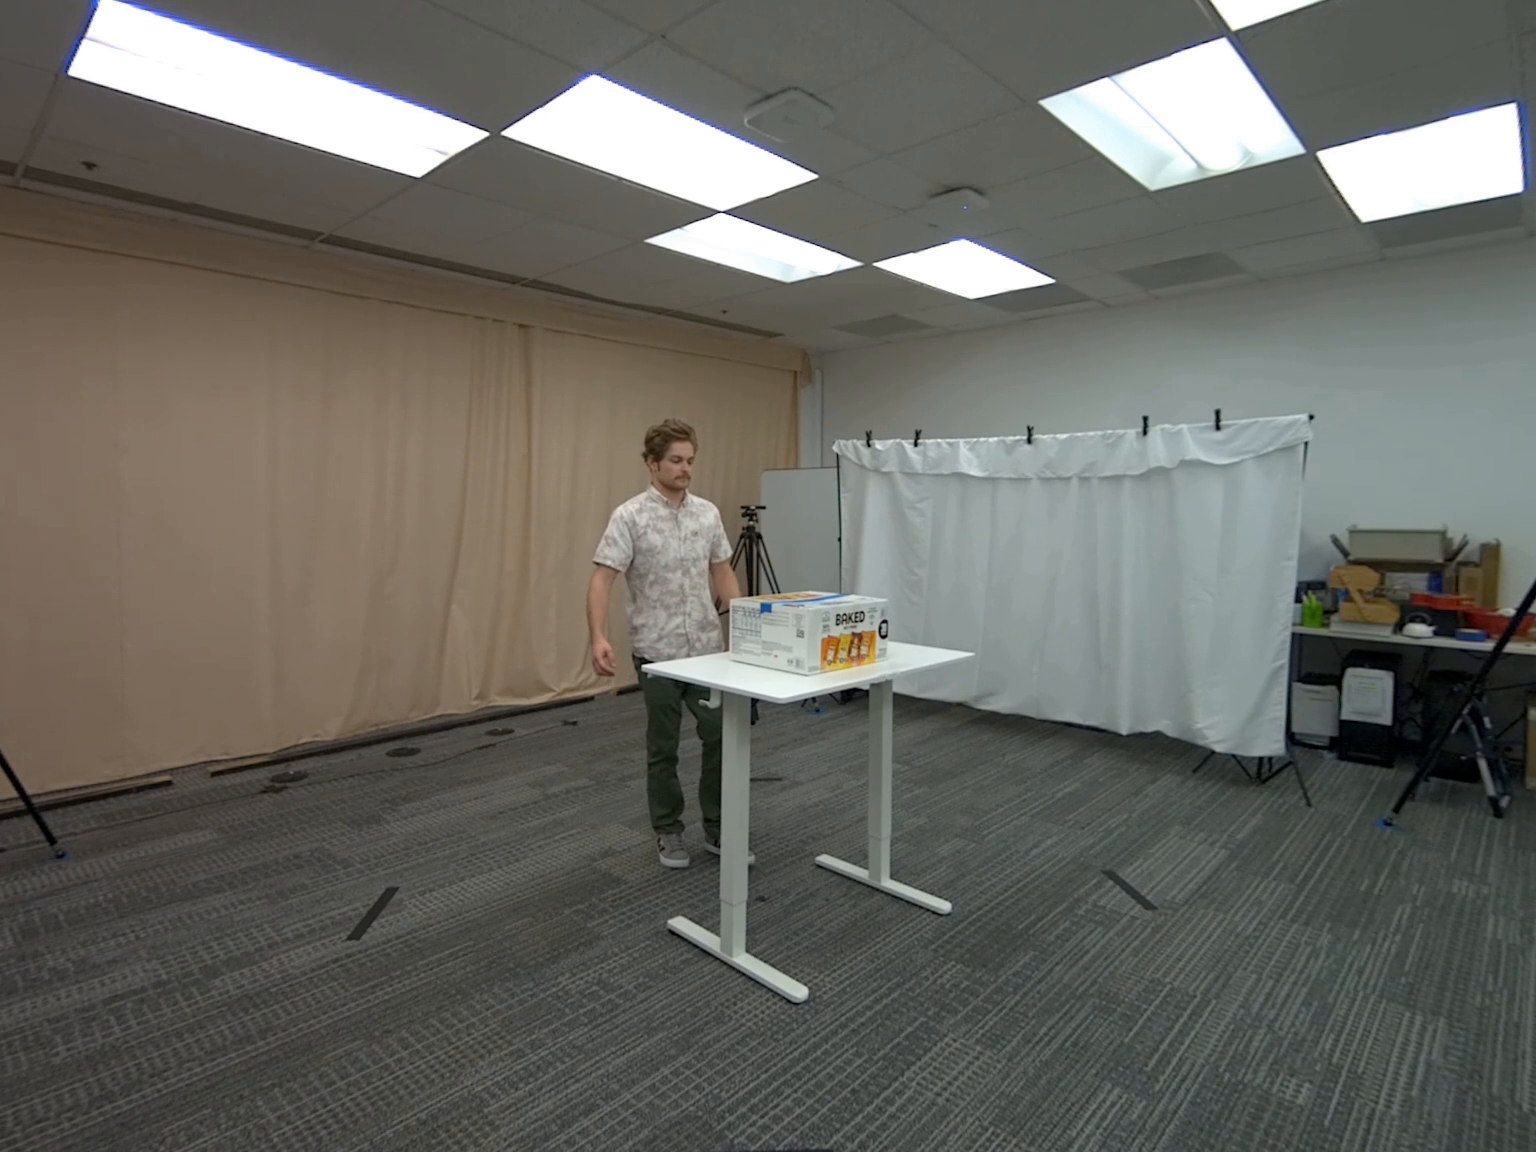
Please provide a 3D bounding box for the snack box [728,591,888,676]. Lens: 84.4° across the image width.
[{"bbox_3d":[0.140,0.177,2.752,0.393,0.205,0.352,-4,6,-45],"label":"snack box"}]
